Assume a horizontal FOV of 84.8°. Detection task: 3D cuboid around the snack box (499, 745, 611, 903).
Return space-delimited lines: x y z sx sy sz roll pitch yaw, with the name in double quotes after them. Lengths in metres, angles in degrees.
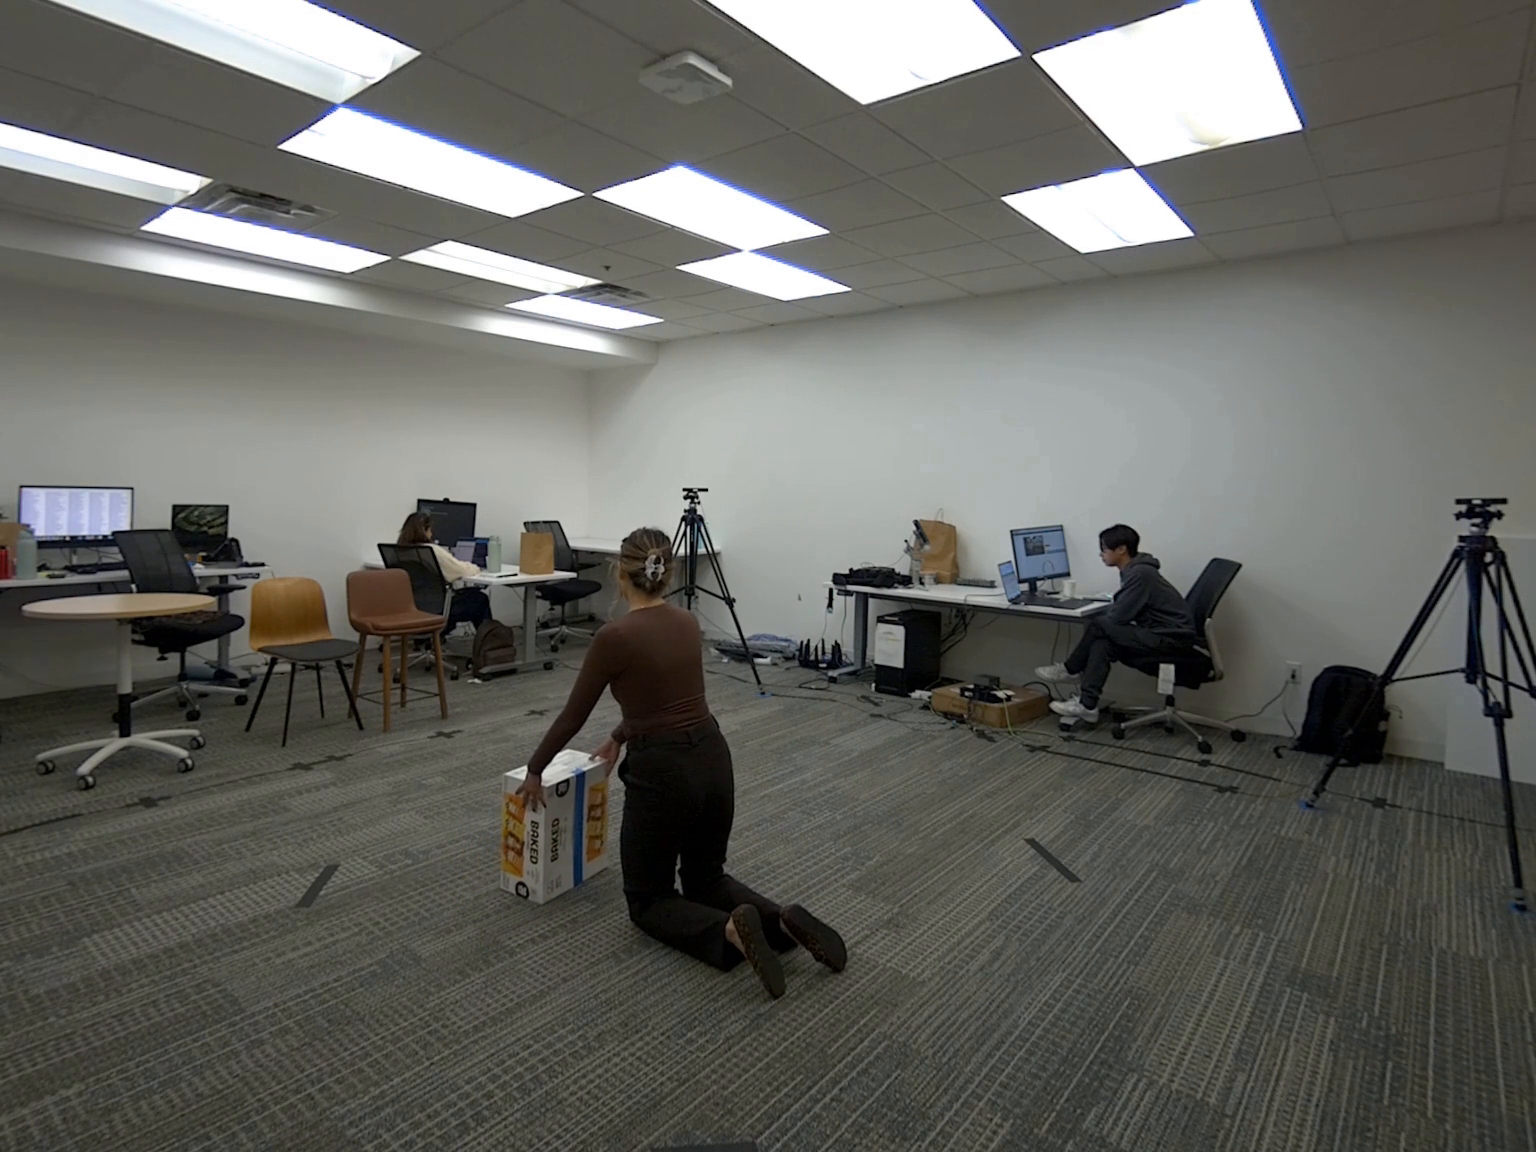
-0.756 0.866 3.000 0.212 0.404 0.332 4 5 29 "snack box"
